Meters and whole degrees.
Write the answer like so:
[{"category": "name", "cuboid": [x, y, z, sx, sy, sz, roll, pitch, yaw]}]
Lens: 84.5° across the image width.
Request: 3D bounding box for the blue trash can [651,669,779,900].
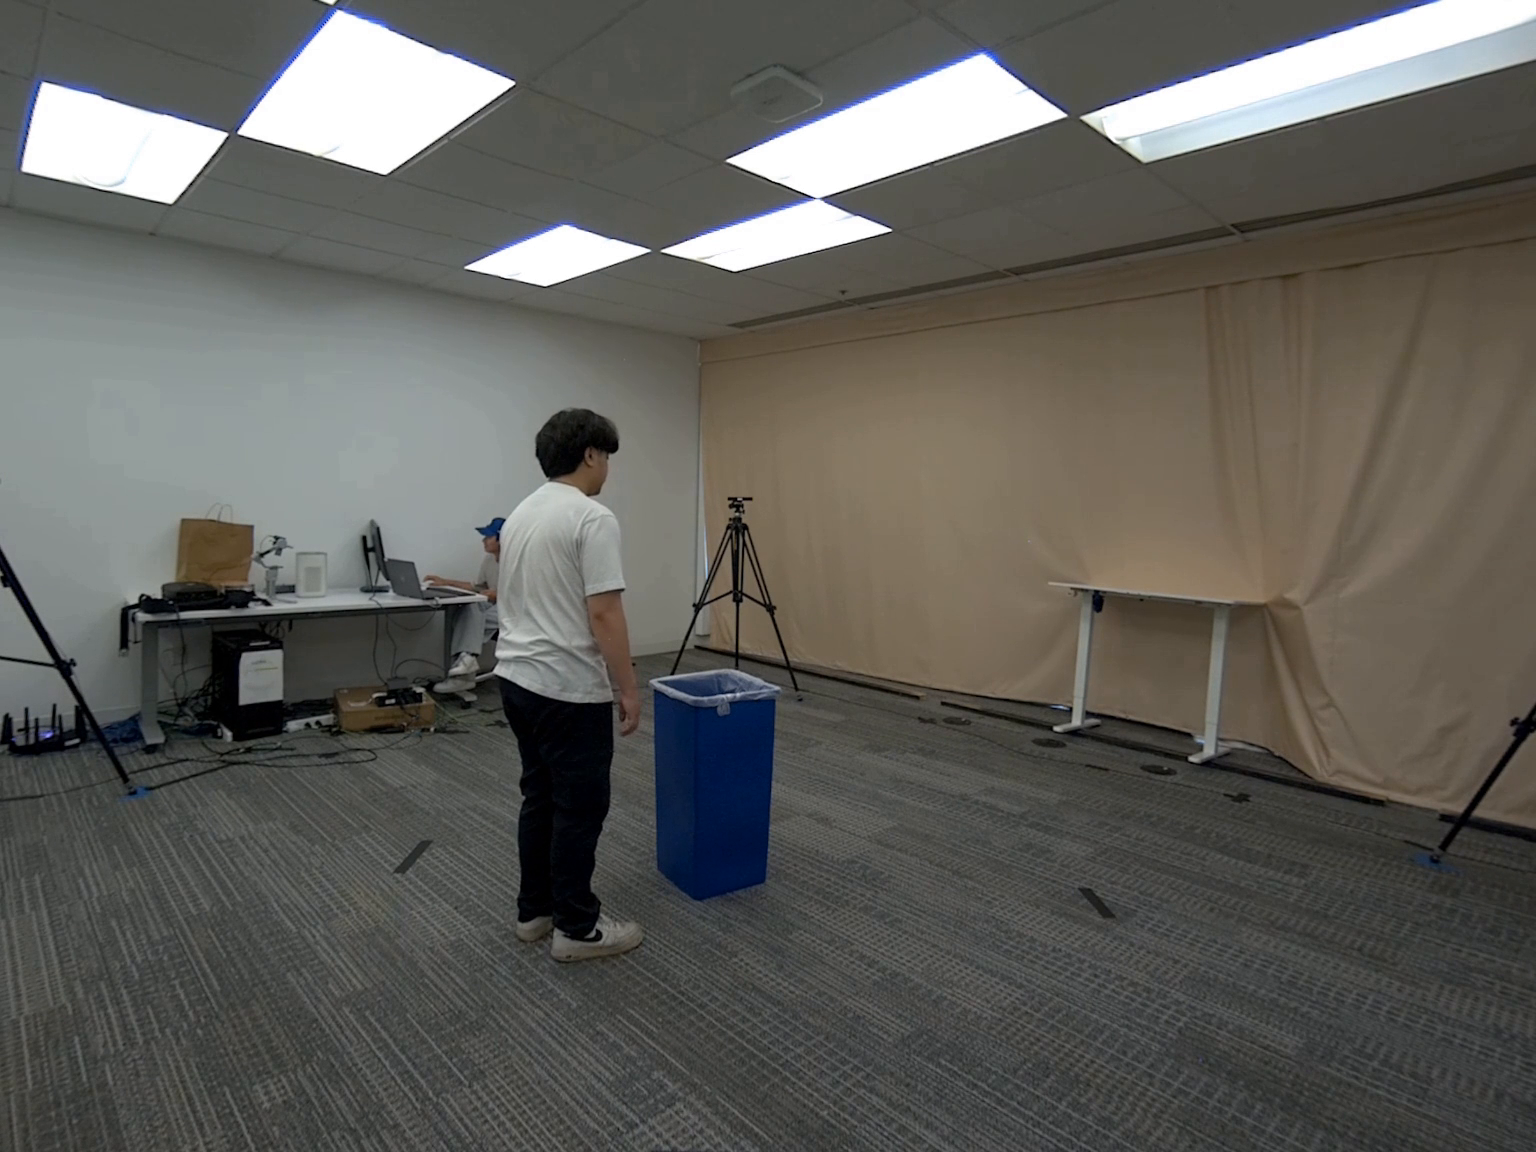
[{"category": "blue trash can", "cuboid": [-0.215, 0.748, 3.095, 0.370, 0.712, 0.383, -1, 4, -34]}]
